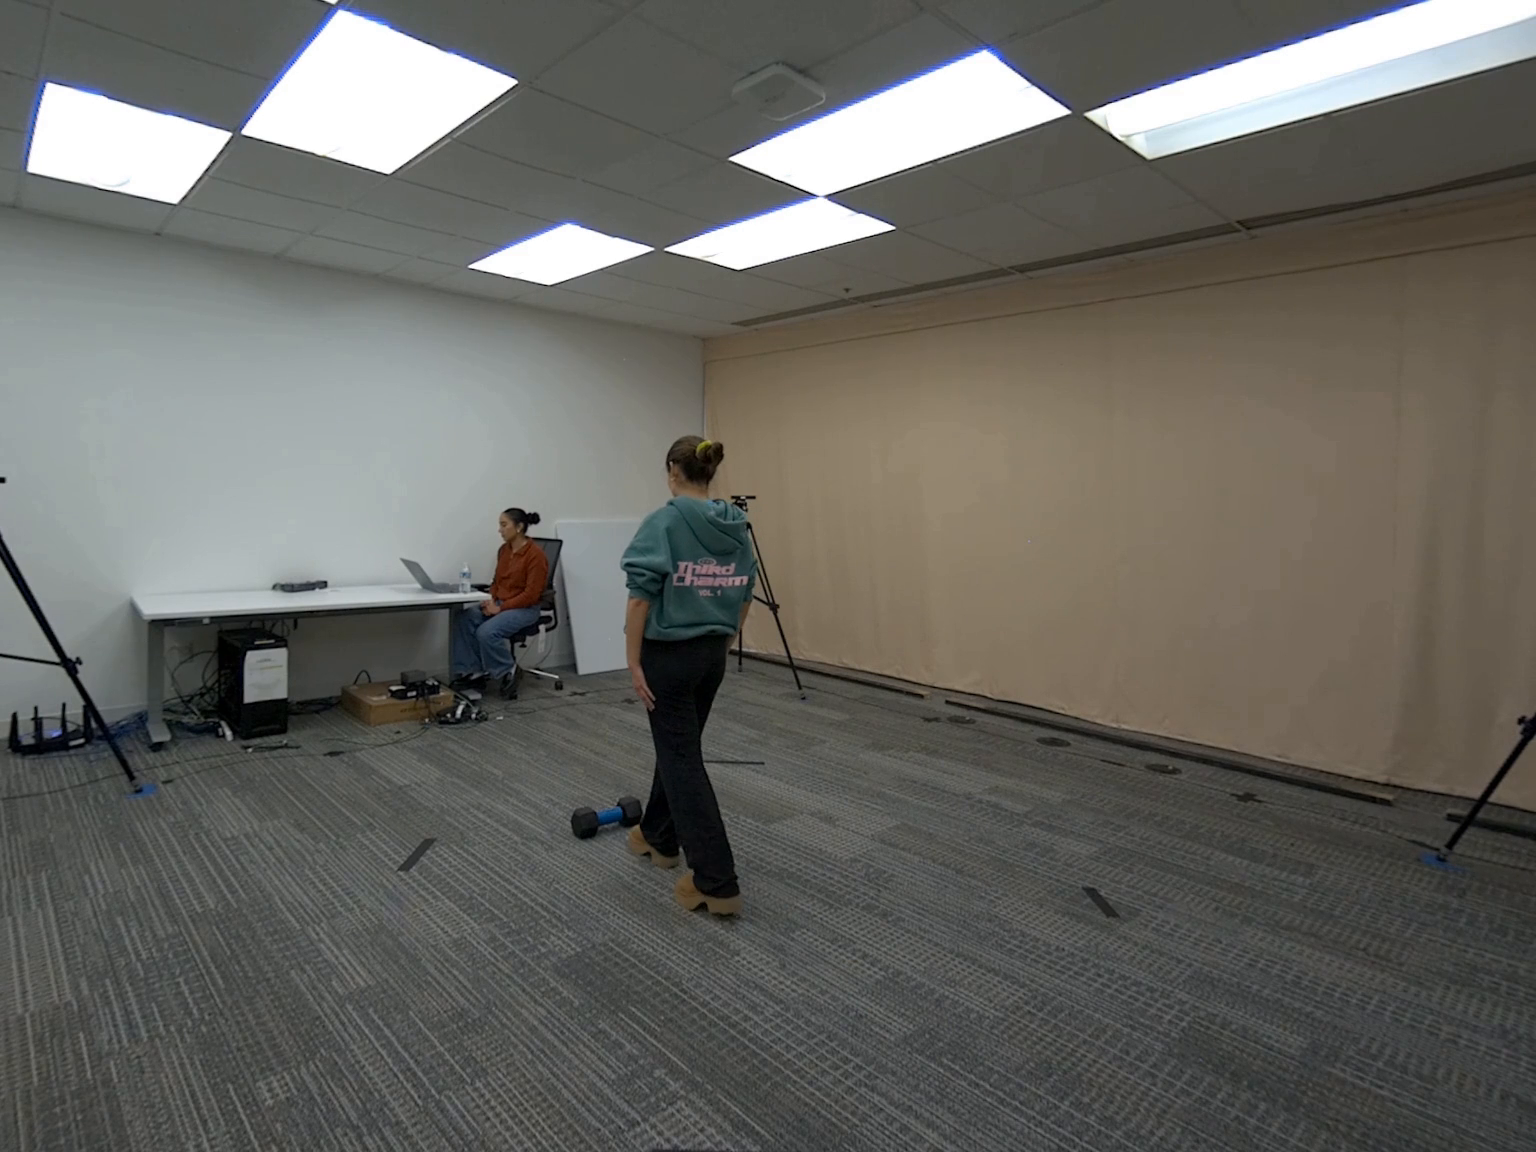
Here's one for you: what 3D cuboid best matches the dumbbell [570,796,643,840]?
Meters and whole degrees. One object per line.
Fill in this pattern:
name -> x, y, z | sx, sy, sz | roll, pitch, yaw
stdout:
dumbbell -> -0.678, 1.002, 3.495 | 0.287, 0.125, 0.109 | -3, -25, -41
